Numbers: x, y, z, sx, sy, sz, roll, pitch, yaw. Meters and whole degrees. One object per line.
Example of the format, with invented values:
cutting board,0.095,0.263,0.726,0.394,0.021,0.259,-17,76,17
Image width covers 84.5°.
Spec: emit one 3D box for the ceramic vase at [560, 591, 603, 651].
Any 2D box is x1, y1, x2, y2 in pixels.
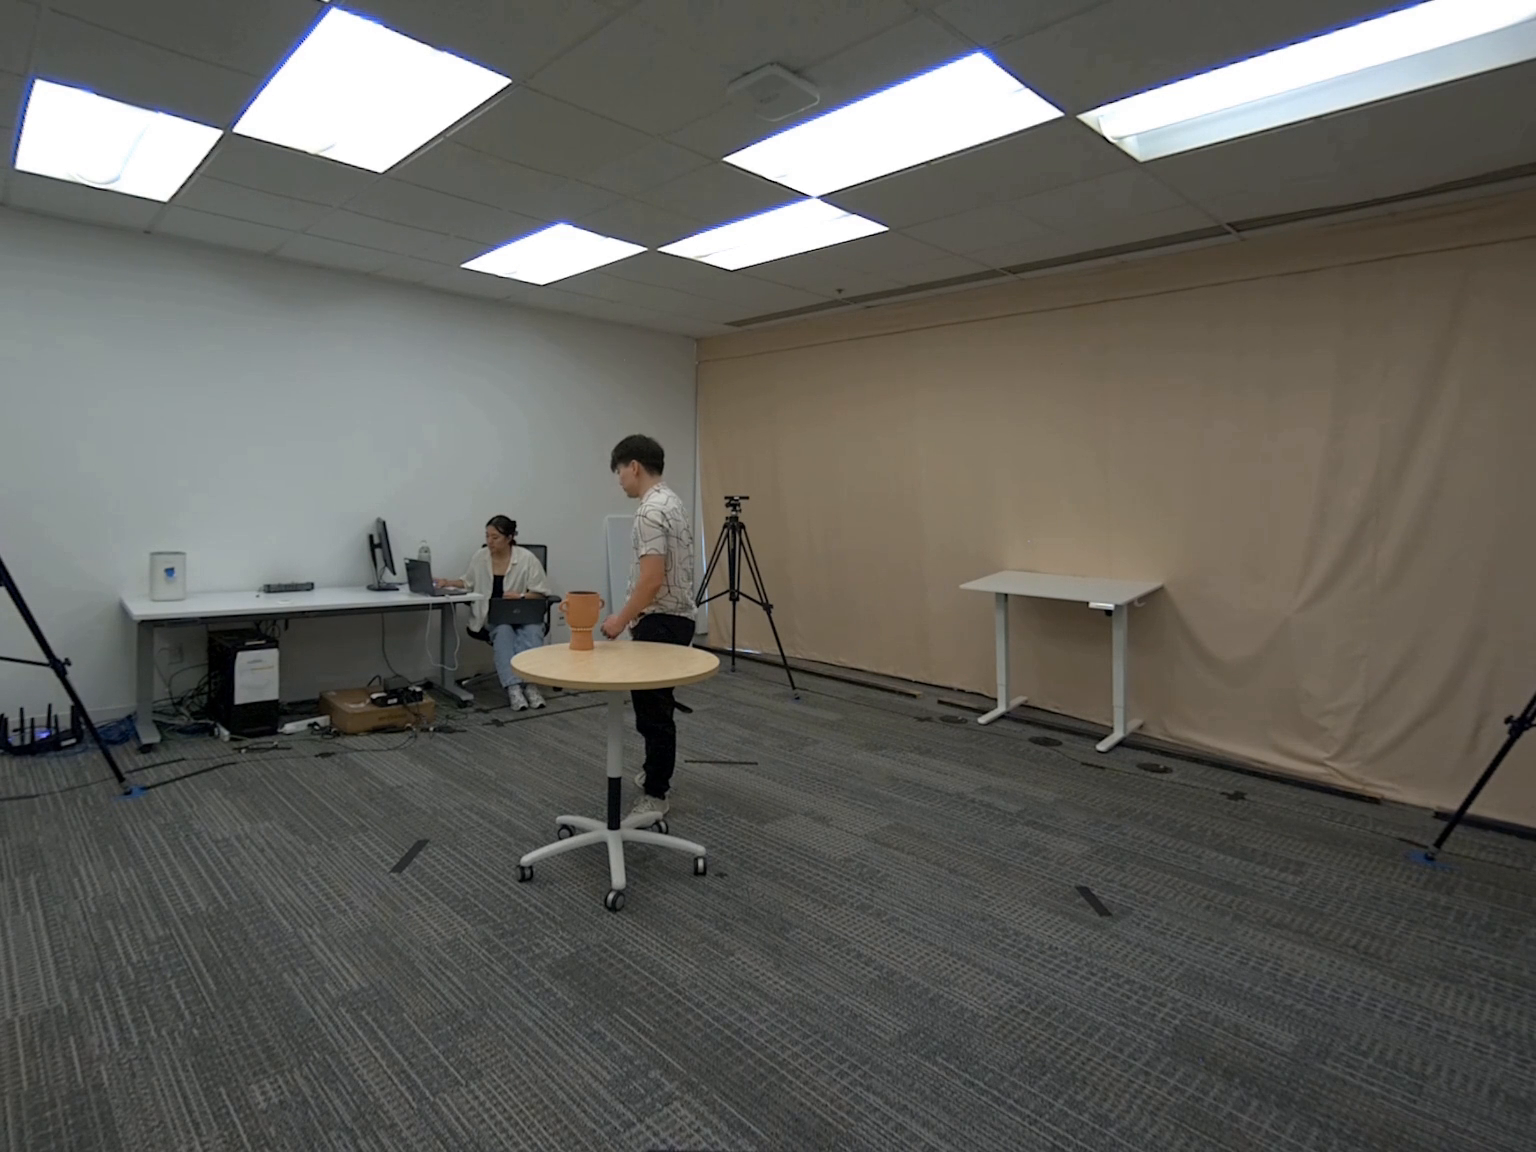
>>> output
ceramic vase,-0.748,0.177,3.316,0.159,0.219,0.135,2,3,0
